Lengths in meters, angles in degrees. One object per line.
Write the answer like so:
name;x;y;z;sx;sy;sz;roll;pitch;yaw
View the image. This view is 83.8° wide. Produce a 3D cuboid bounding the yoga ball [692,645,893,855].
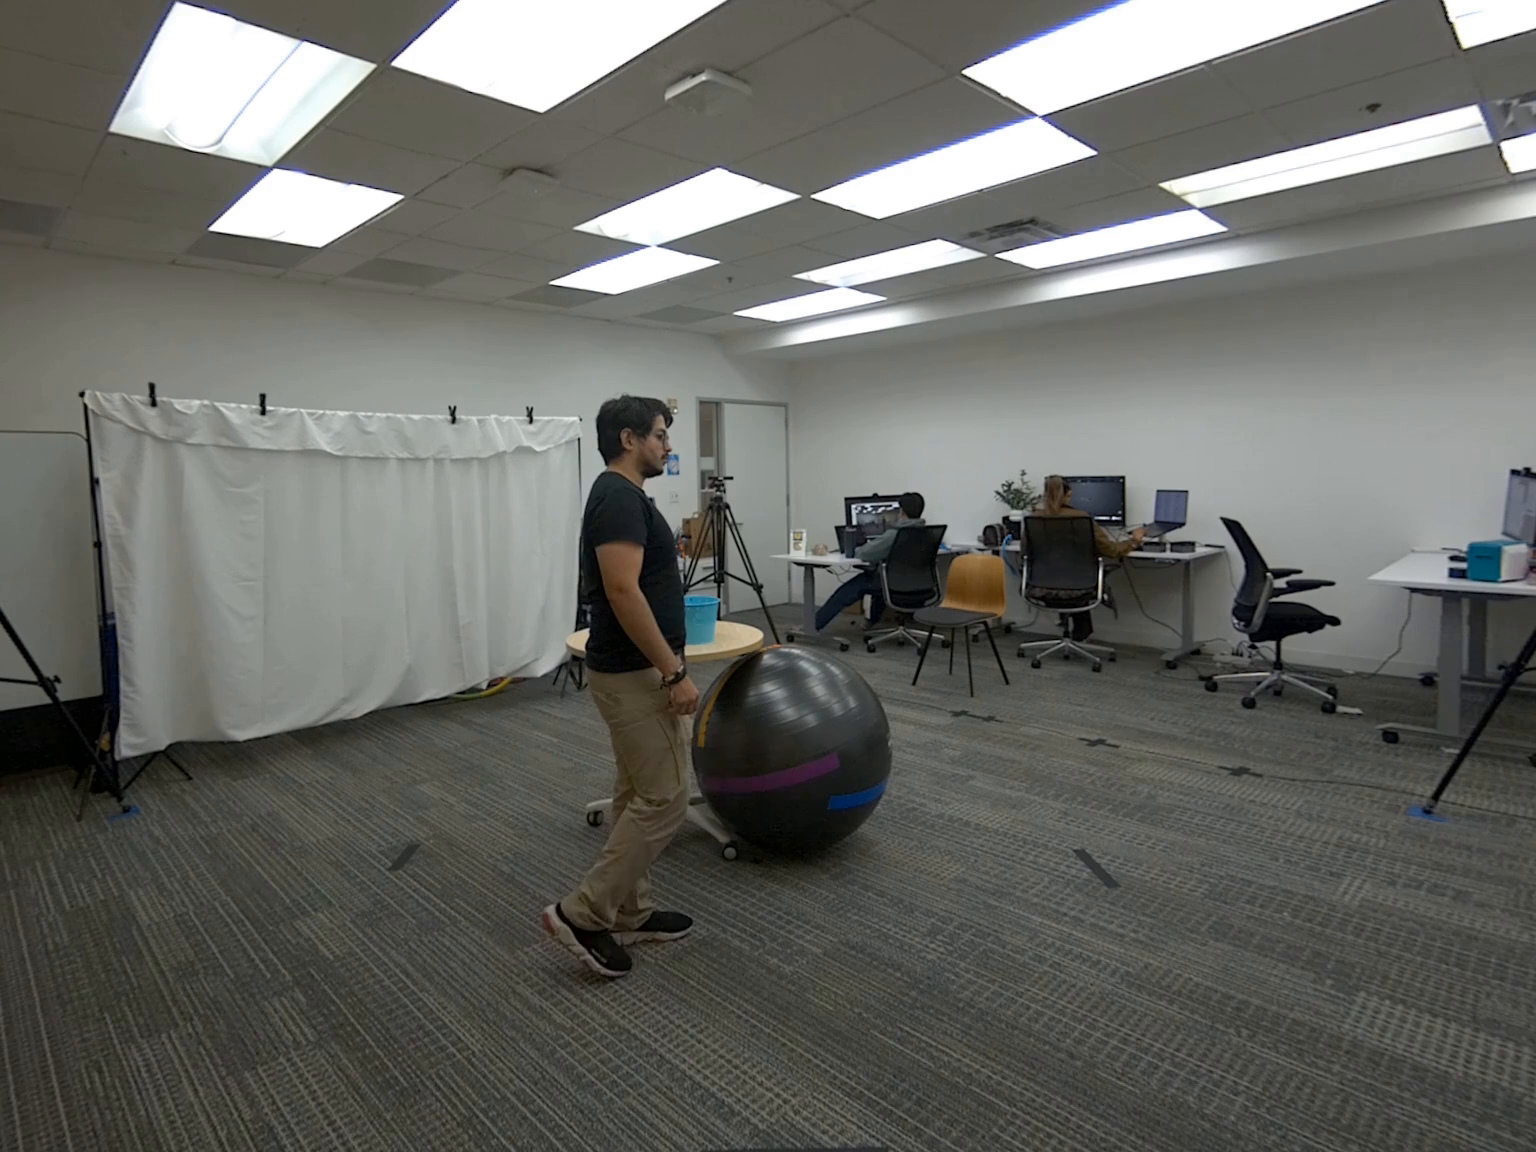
yoga ball;0.093;0.649;3.234;0.757;0.755;0.762;-1;5;-2
